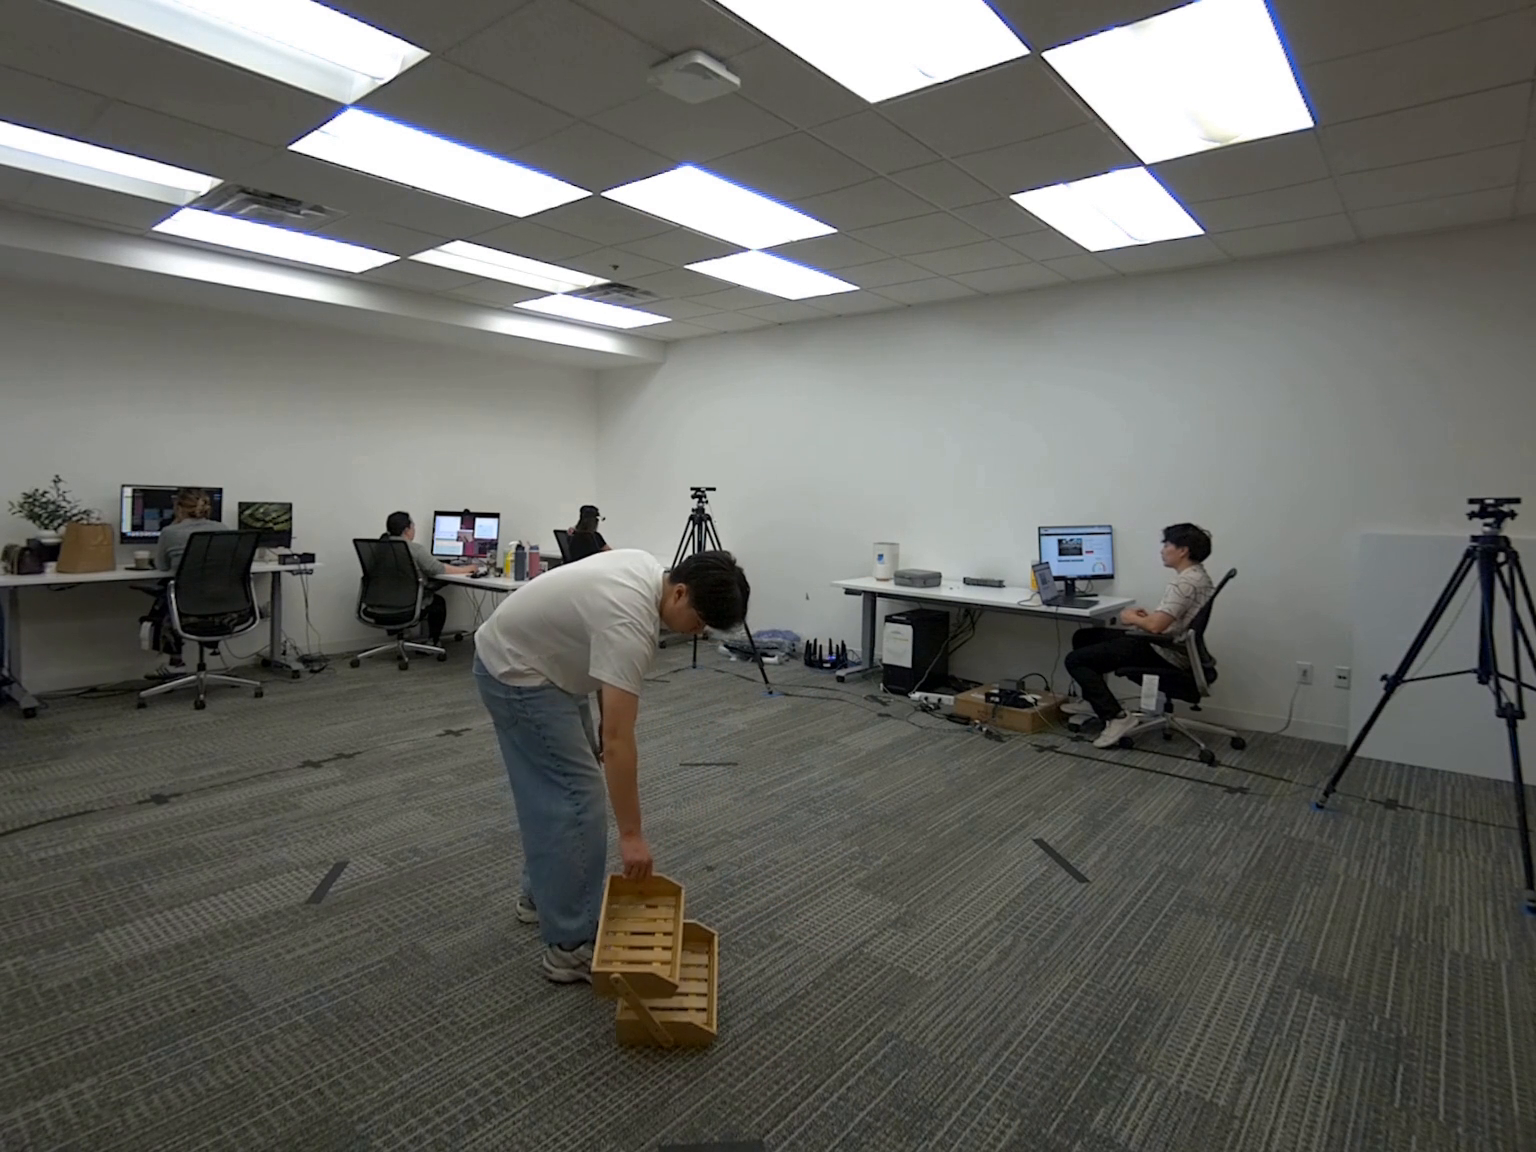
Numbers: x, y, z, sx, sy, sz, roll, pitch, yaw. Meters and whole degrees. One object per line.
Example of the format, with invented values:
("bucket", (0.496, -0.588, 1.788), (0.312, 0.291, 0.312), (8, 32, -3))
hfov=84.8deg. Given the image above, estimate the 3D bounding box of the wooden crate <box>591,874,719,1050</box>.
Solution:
("wooden crate", (-0.279, 0.985, 2.184), (0.303, 0.268, 0.330), (1, 24, 1))
